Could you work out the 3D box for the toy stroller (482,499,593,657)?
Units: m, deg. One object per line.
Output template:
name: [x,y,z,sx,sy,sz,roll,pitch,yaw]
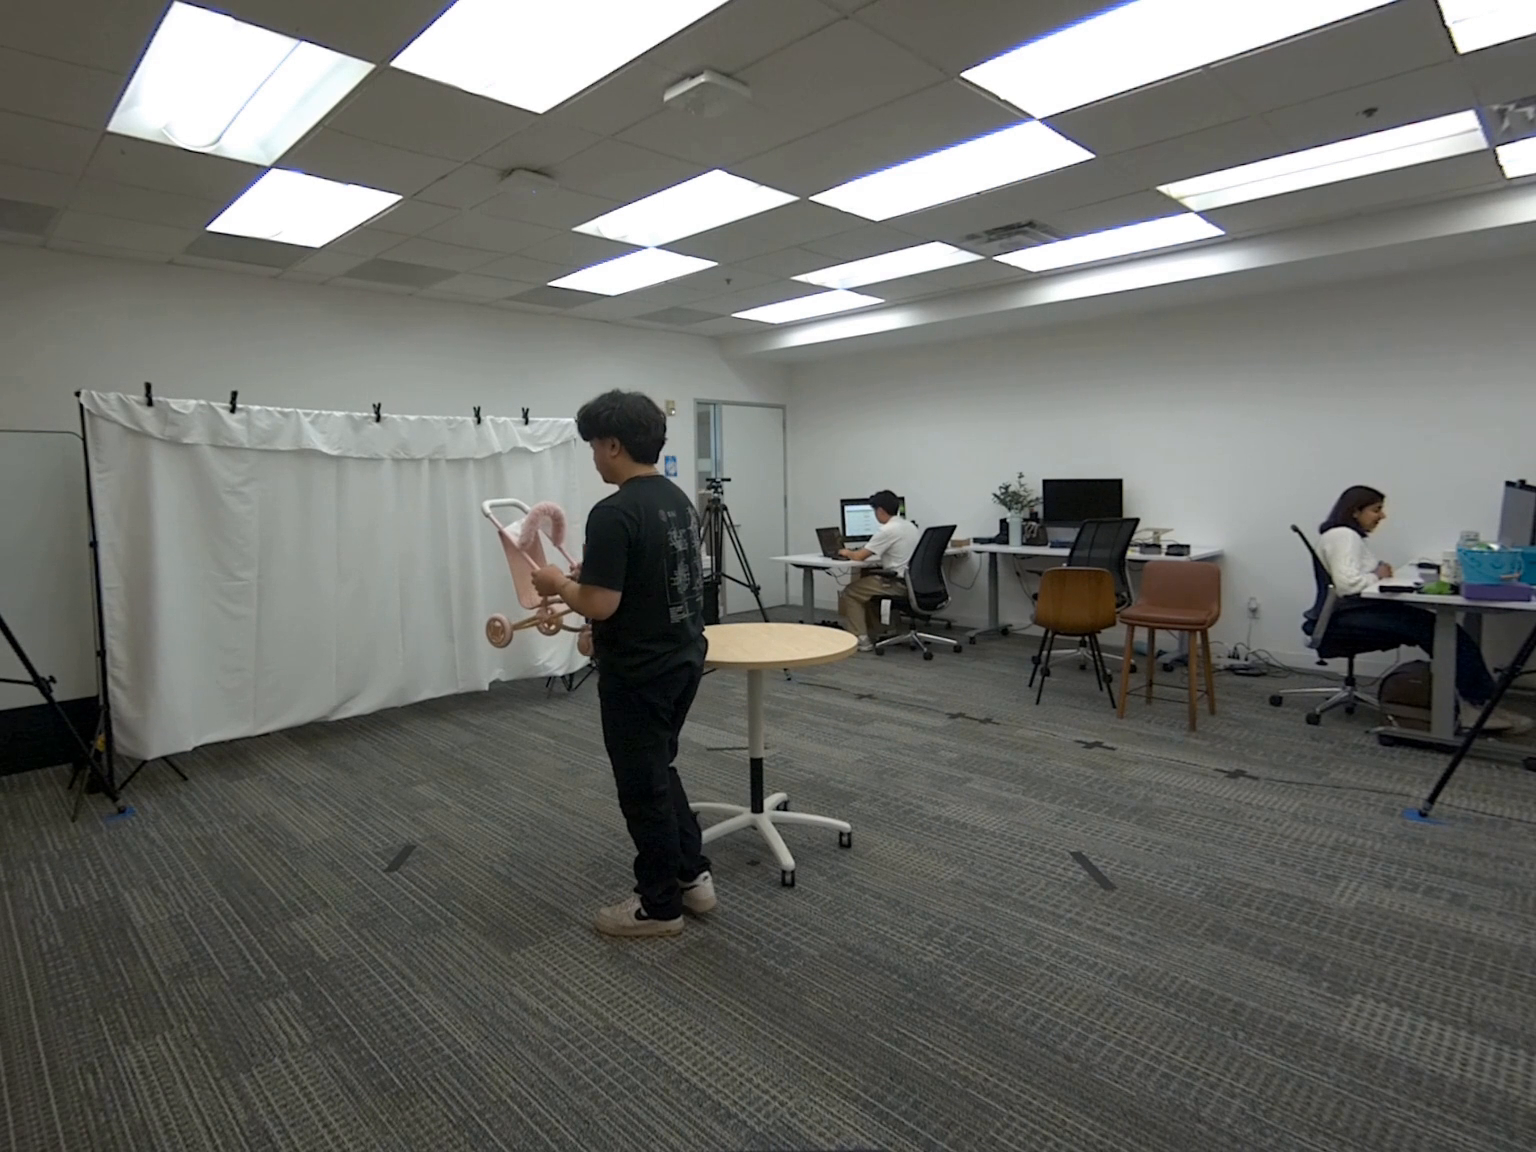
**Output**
toy stroller: [-0.717,0.001,2.750,0.349,0.535,0.275,-6,0,31]
